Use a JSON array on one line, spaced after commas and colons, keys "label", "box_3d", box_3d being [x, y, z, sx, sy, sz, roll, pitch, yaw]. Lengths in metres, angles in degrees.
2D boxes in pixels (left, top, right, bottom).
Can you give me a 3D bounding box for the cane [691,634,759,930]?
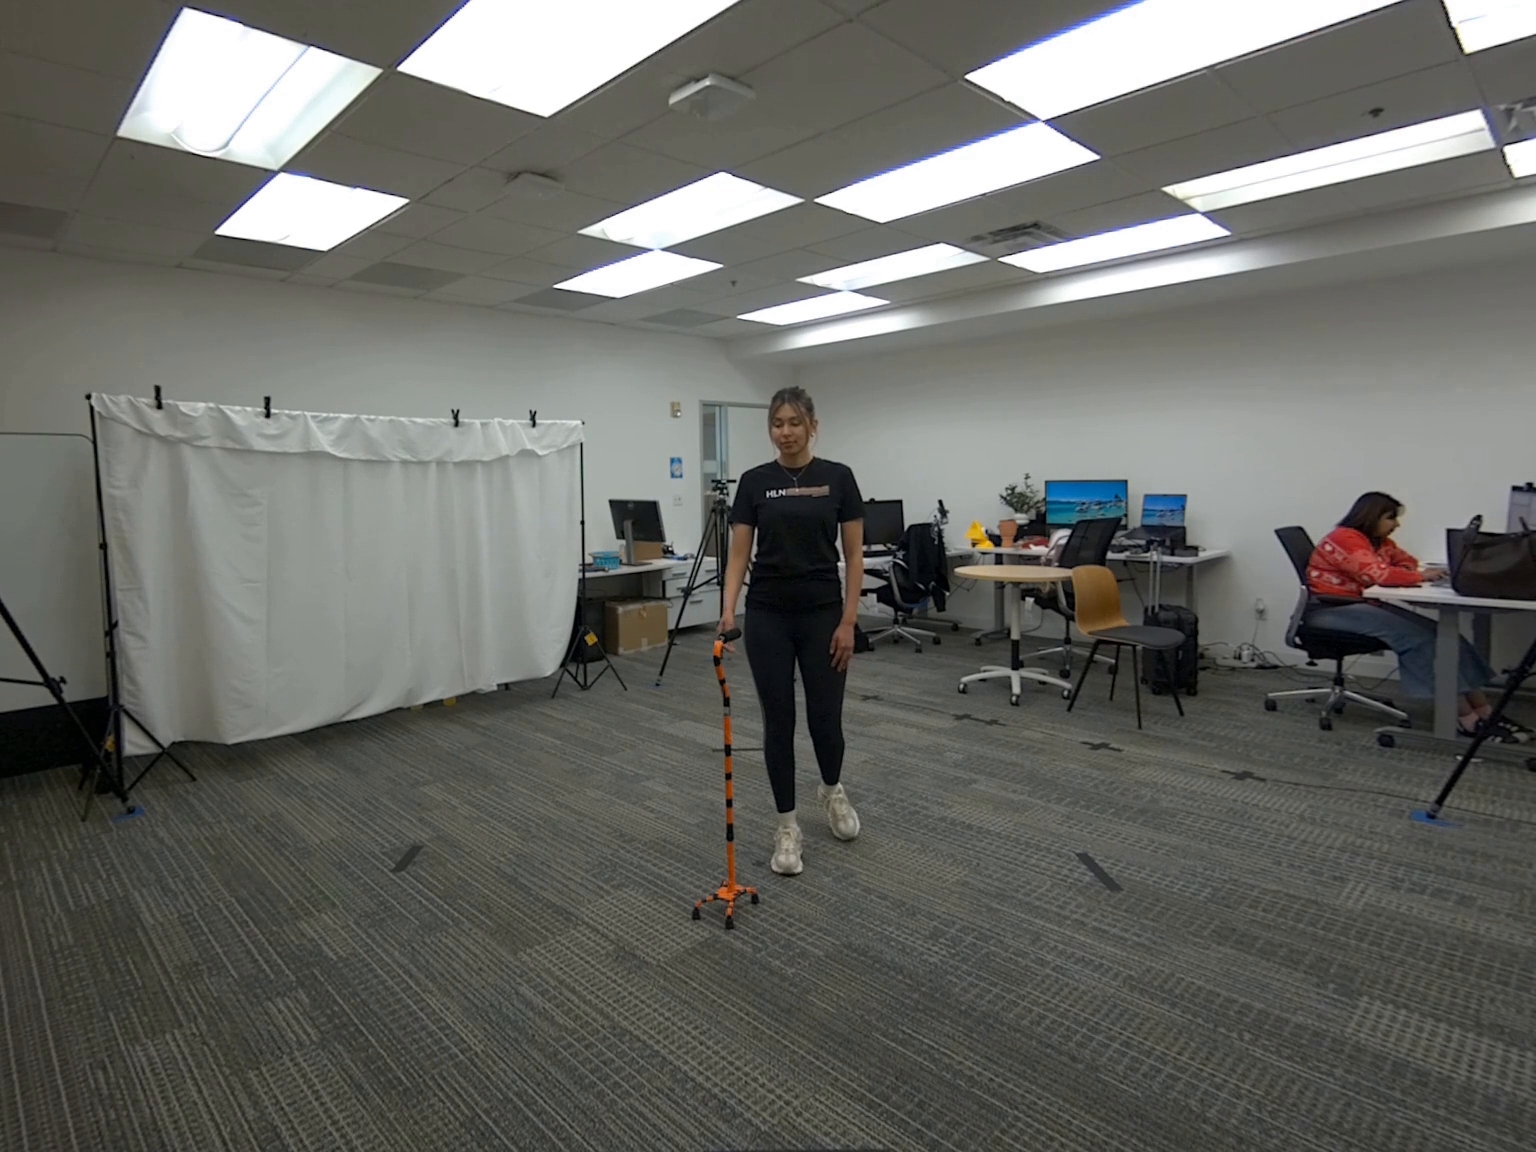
[{"label": "cane", "box_3d": [-0.142, 0.636, 2.747, 0.155, 0.904, 0.202, 1, 4, 25]}]
